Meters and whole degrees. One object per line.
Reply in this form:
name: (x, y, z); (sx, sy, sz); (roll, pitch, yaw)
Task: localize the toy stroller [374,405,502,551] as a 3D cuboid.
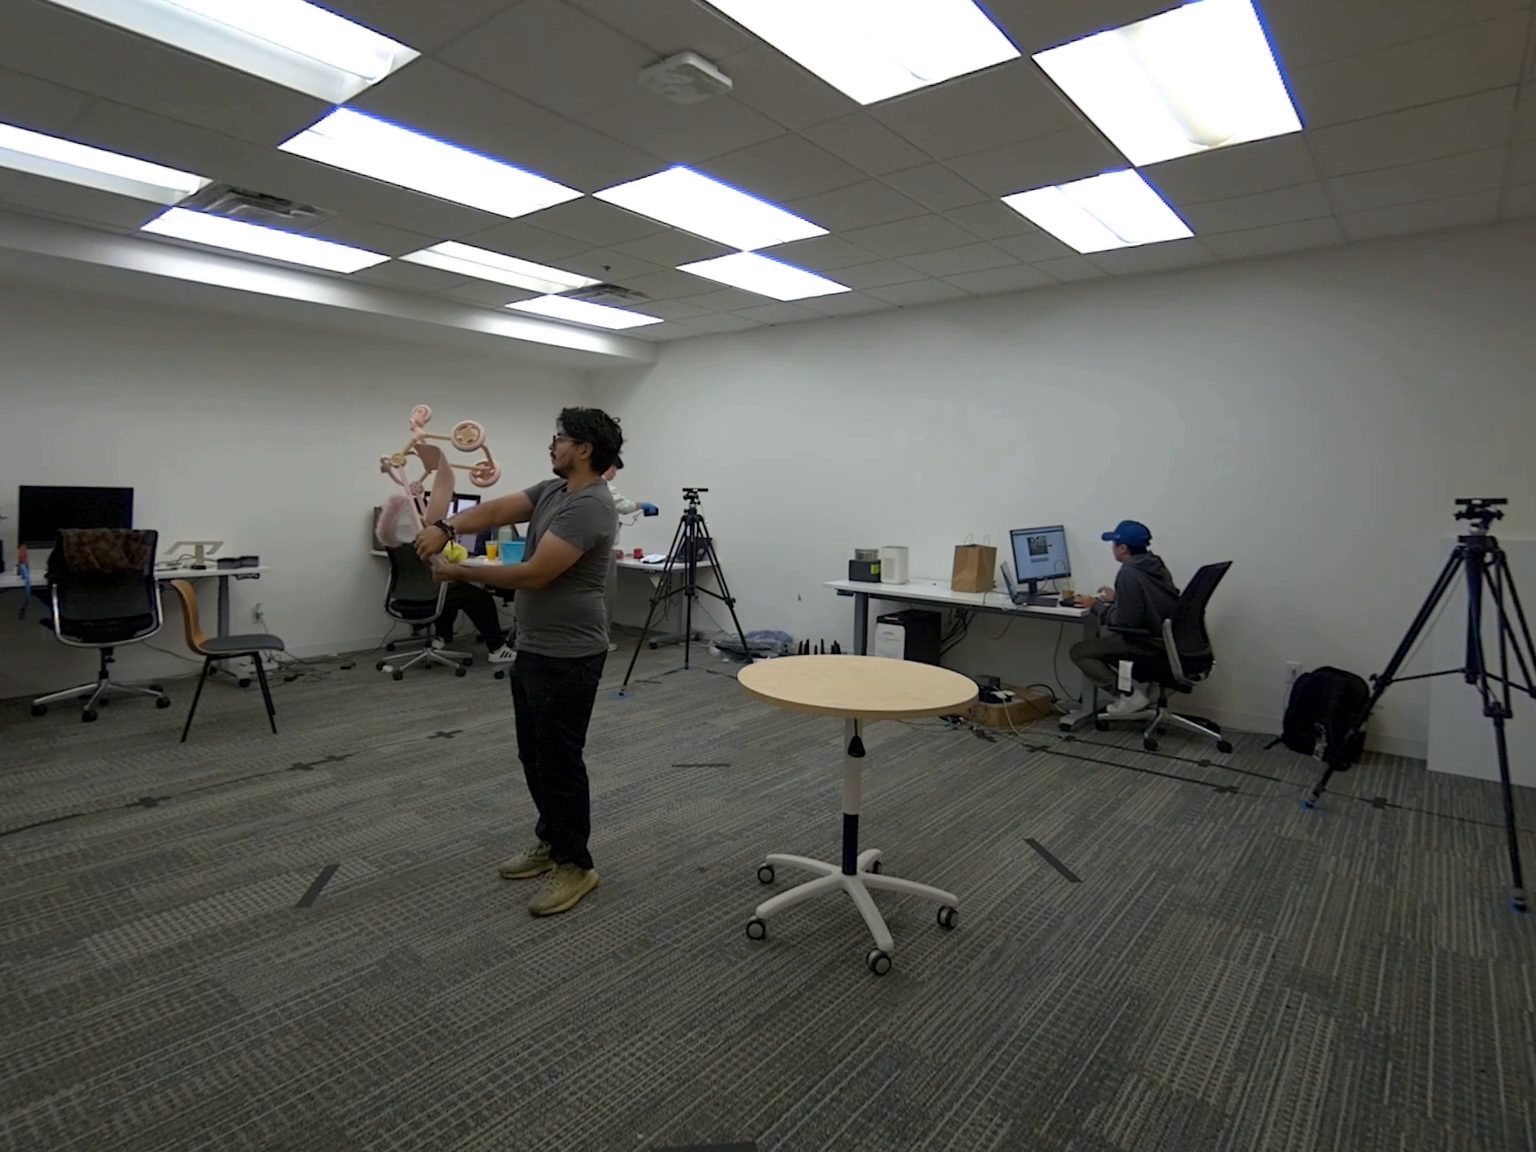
toy stroller: (-1.140, -0.305, 2.804); (0.342, 0.541, 0.278); (18, -23, 0)
